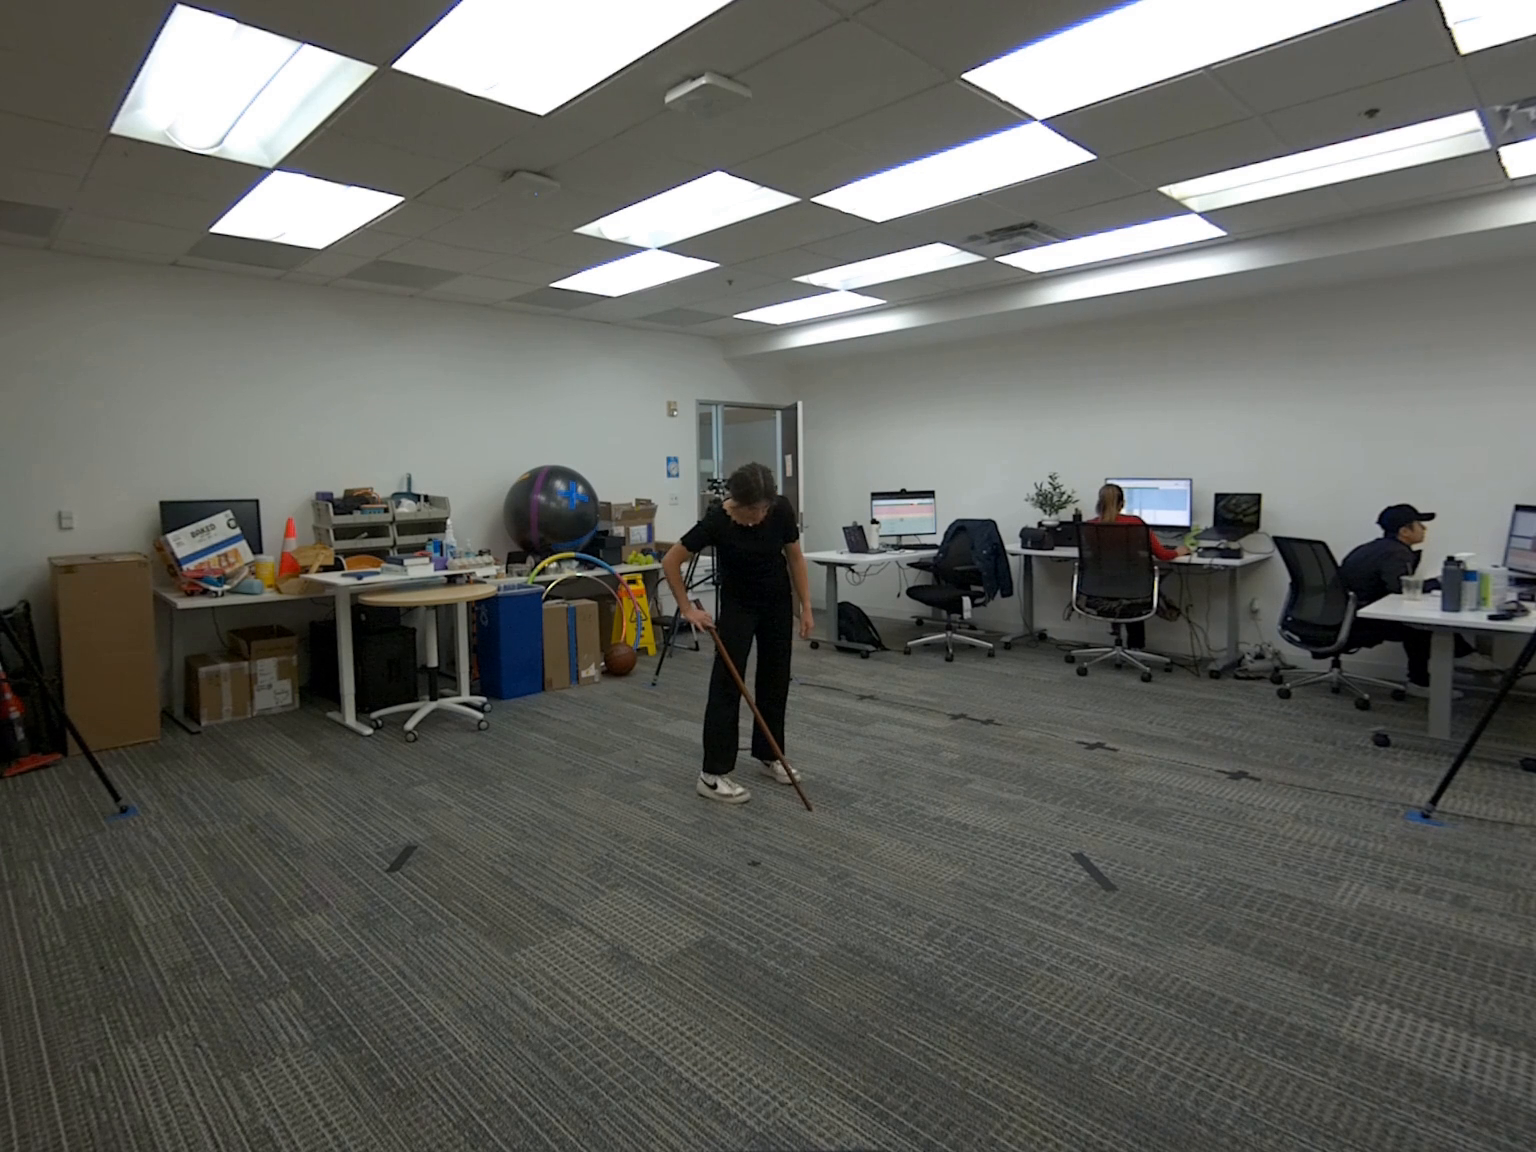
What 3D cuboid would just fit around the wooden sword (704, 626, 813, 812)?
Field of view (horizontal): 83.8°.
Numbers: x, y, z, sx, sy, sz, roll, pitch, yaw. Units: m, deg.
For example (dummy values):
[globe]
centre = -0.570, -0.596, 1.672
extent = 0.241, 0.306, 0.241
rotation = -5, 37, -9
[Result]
[wooden sword]
centre = -0.052, 0.578, 3.709
extent = 0.024, 1.042, 0.050
rotation = -37, -14, 22
